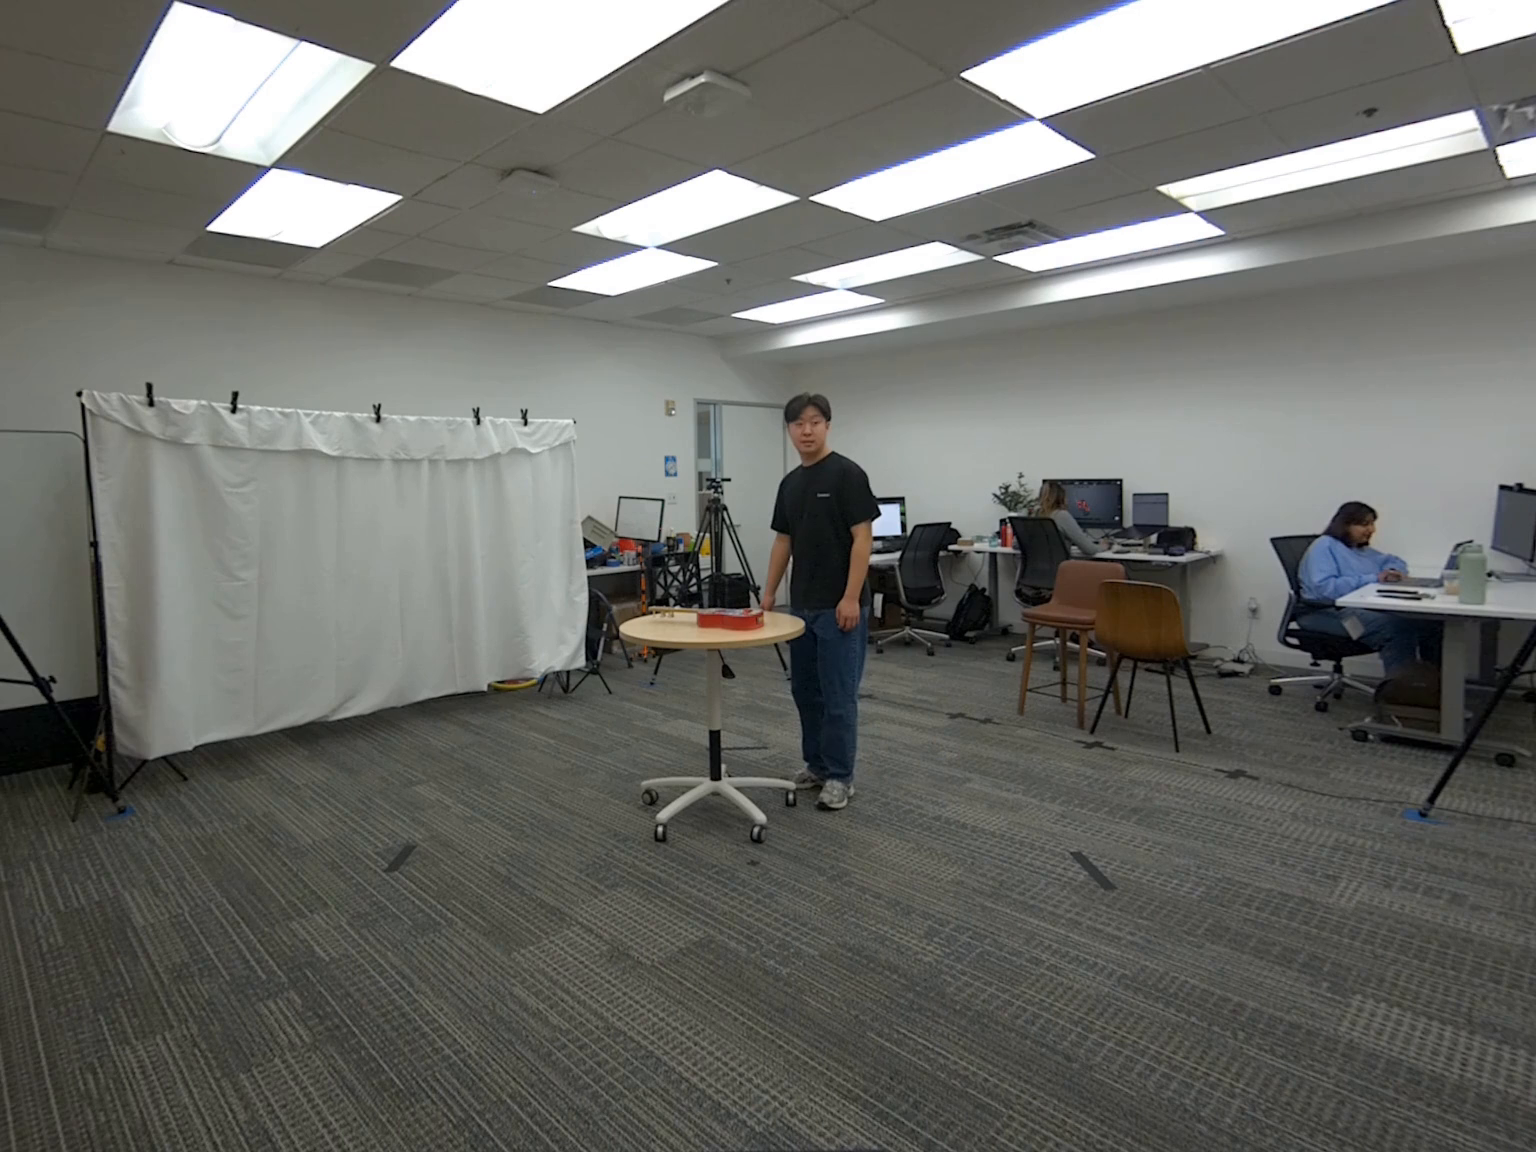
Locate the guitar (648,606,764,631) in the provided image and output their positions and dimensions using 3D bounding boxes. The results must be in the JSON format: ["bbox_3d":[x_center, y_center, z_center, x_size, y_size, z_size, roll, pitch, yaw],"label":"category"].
[{"bbox_3d":[-0.252,0.166,3.562,0.511,0.070,0.189,3,7,29],"label":"guitar"}]
